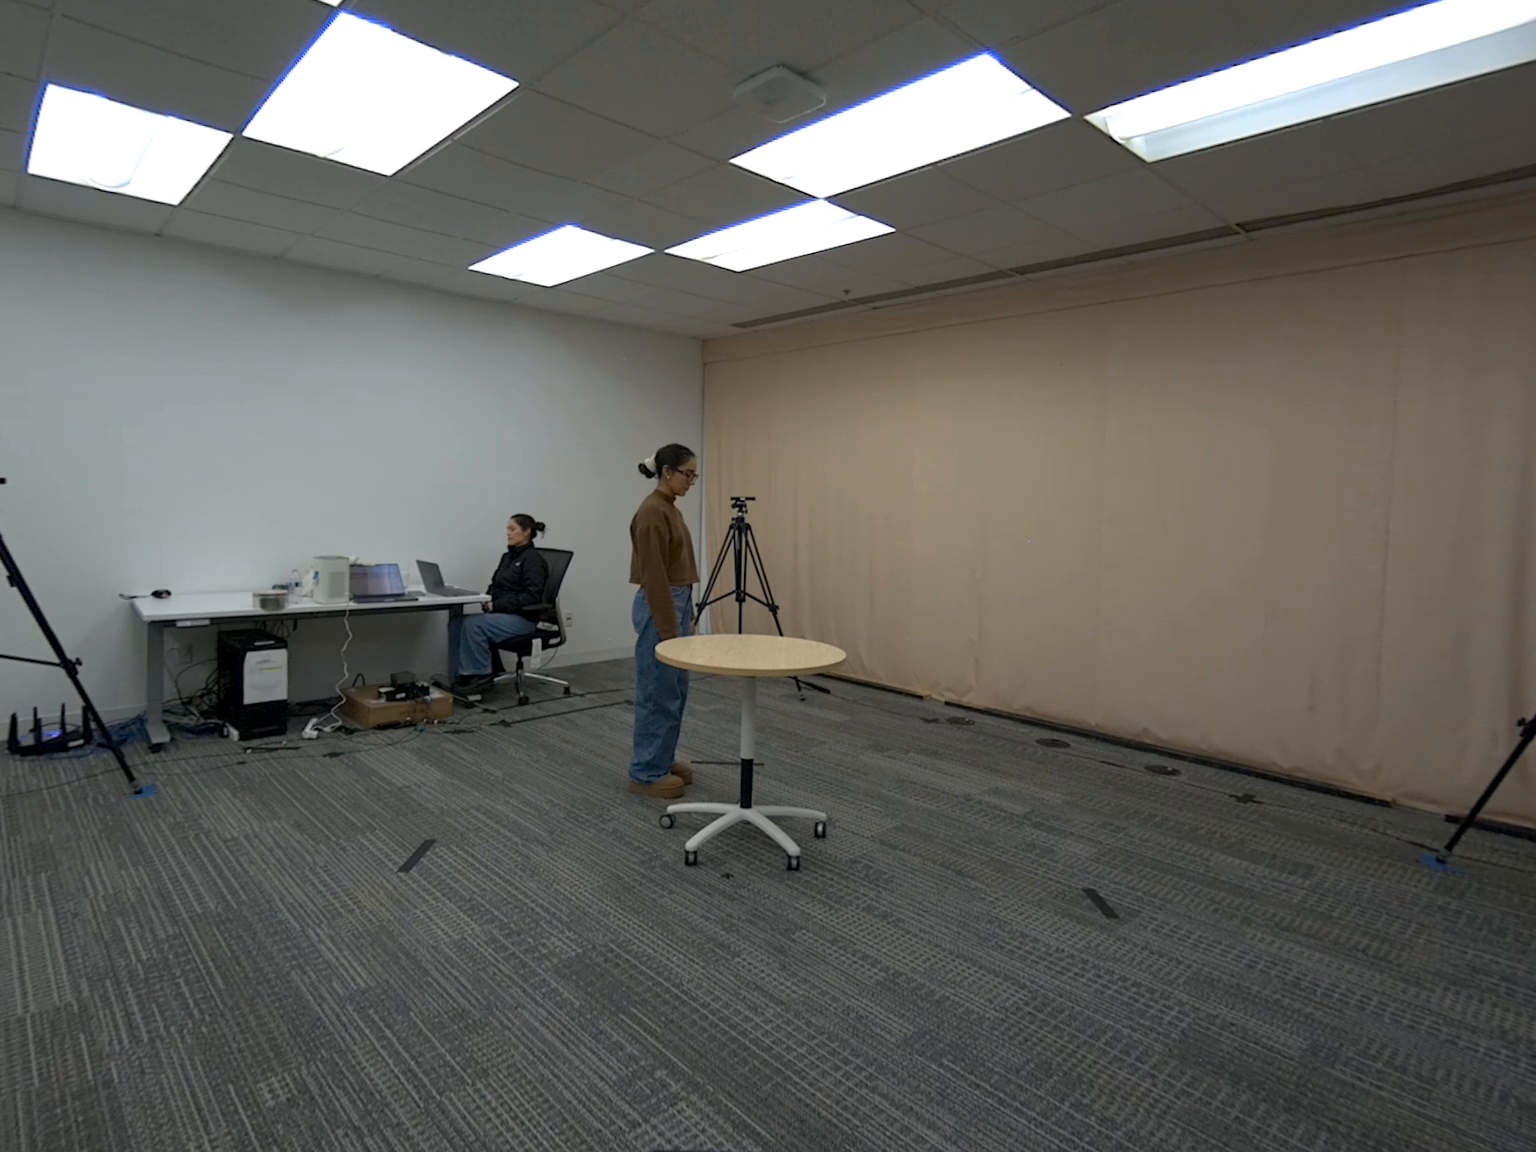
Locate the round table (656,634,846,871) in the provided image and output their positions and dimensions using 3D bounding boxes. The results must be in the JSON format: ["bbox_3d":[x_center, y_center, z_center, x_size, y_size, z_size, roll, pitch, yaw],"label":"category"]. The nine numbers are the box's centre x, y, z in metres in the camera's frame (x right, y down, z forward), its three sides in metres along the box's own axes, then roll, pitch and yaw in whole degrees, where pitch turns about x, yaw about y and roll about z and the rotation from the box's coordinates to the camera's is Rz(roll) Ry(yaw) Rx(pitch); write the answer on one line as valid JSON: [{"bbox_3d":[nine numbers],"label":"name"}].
[{"bbox_3d":[-0.087,0.692,3.403,0.763,0.792,0.766,1,4,-1],"label":"round table"}]
